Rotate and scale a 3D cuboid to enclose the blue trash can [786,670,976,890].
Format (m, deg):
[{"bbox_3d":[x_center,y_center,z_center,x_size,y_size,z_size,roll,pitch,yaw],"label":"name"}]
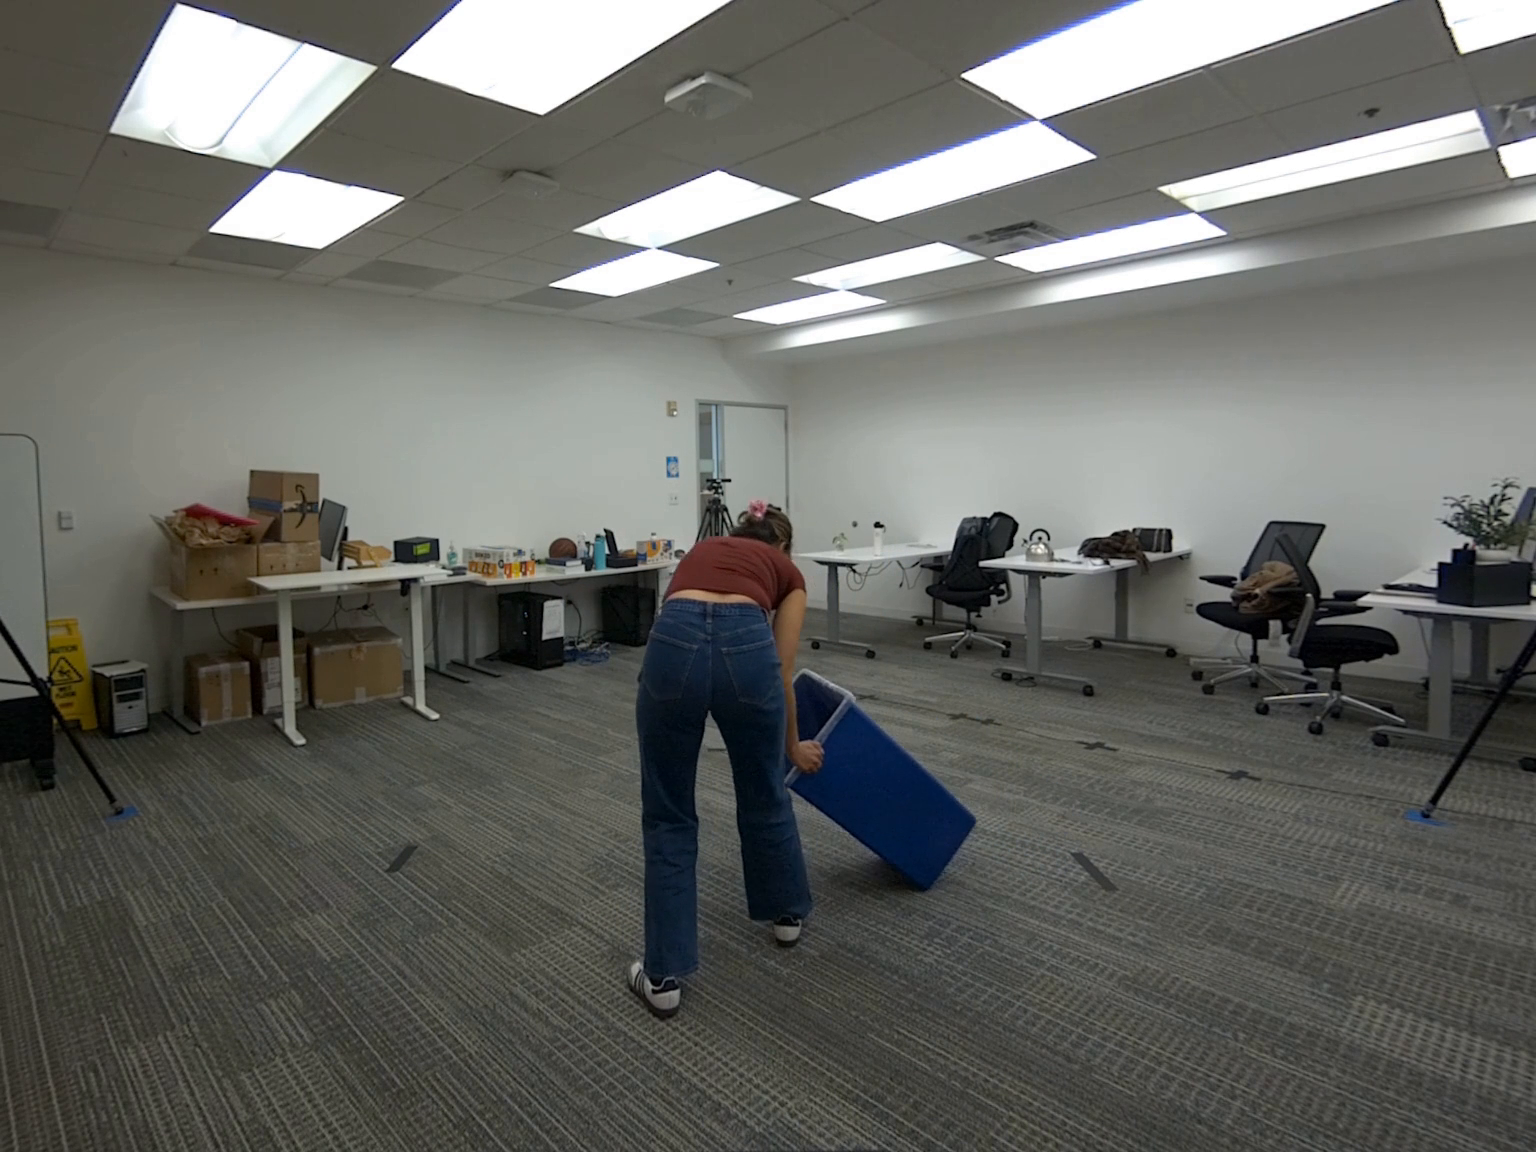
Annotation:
[{"bbox_3d":[0.317,0.710,2.922,0.697,0.374,0.387,43,-11,-19],"label":"blue trash can"}]
